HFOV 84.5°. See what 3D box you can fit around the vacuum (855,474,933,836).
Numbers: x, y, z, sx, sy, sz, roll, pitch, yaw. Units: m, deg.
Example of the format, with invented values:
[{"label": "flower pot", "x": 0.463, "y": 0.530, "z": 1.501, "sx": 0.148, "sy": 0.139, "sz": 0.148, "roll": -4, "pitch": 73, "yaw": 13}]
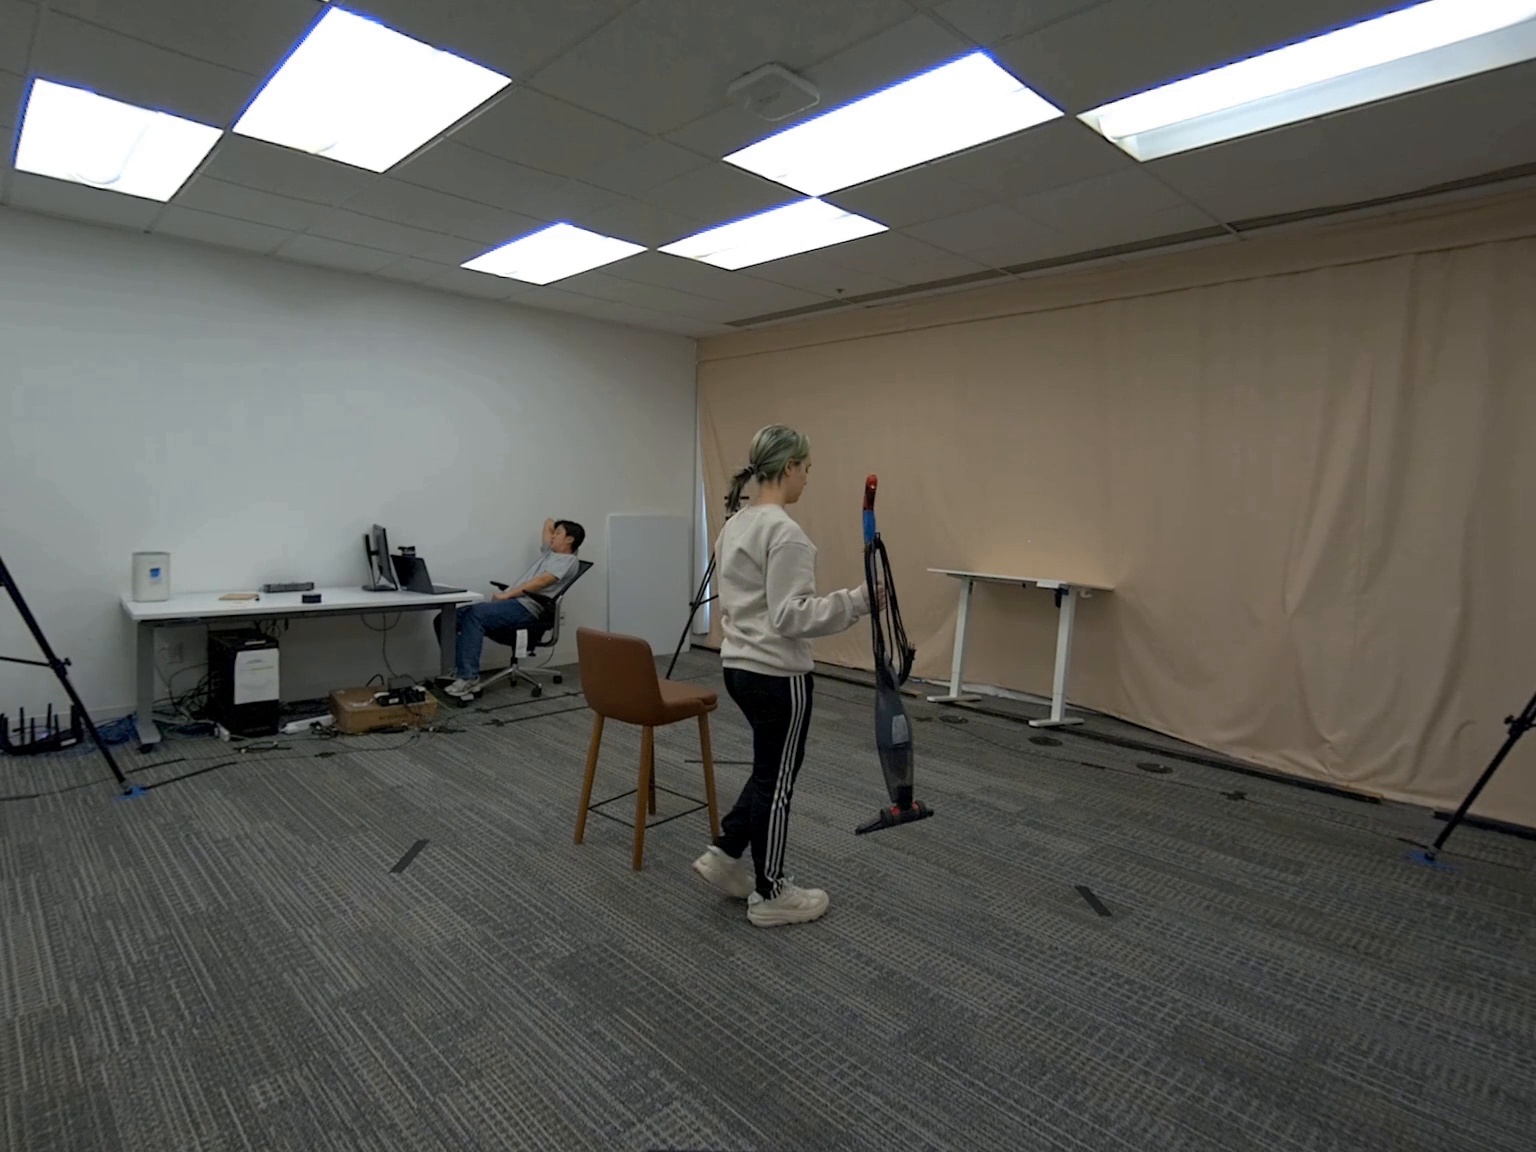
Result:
[{"label": "vacuum", "x": 0.338, "y": 0.238, "z": 2.455, "sx": 0.249, "sy": 1.040, "sz": 0.147, "roll": -8, "pitch": 11, "yaw": -18}]
